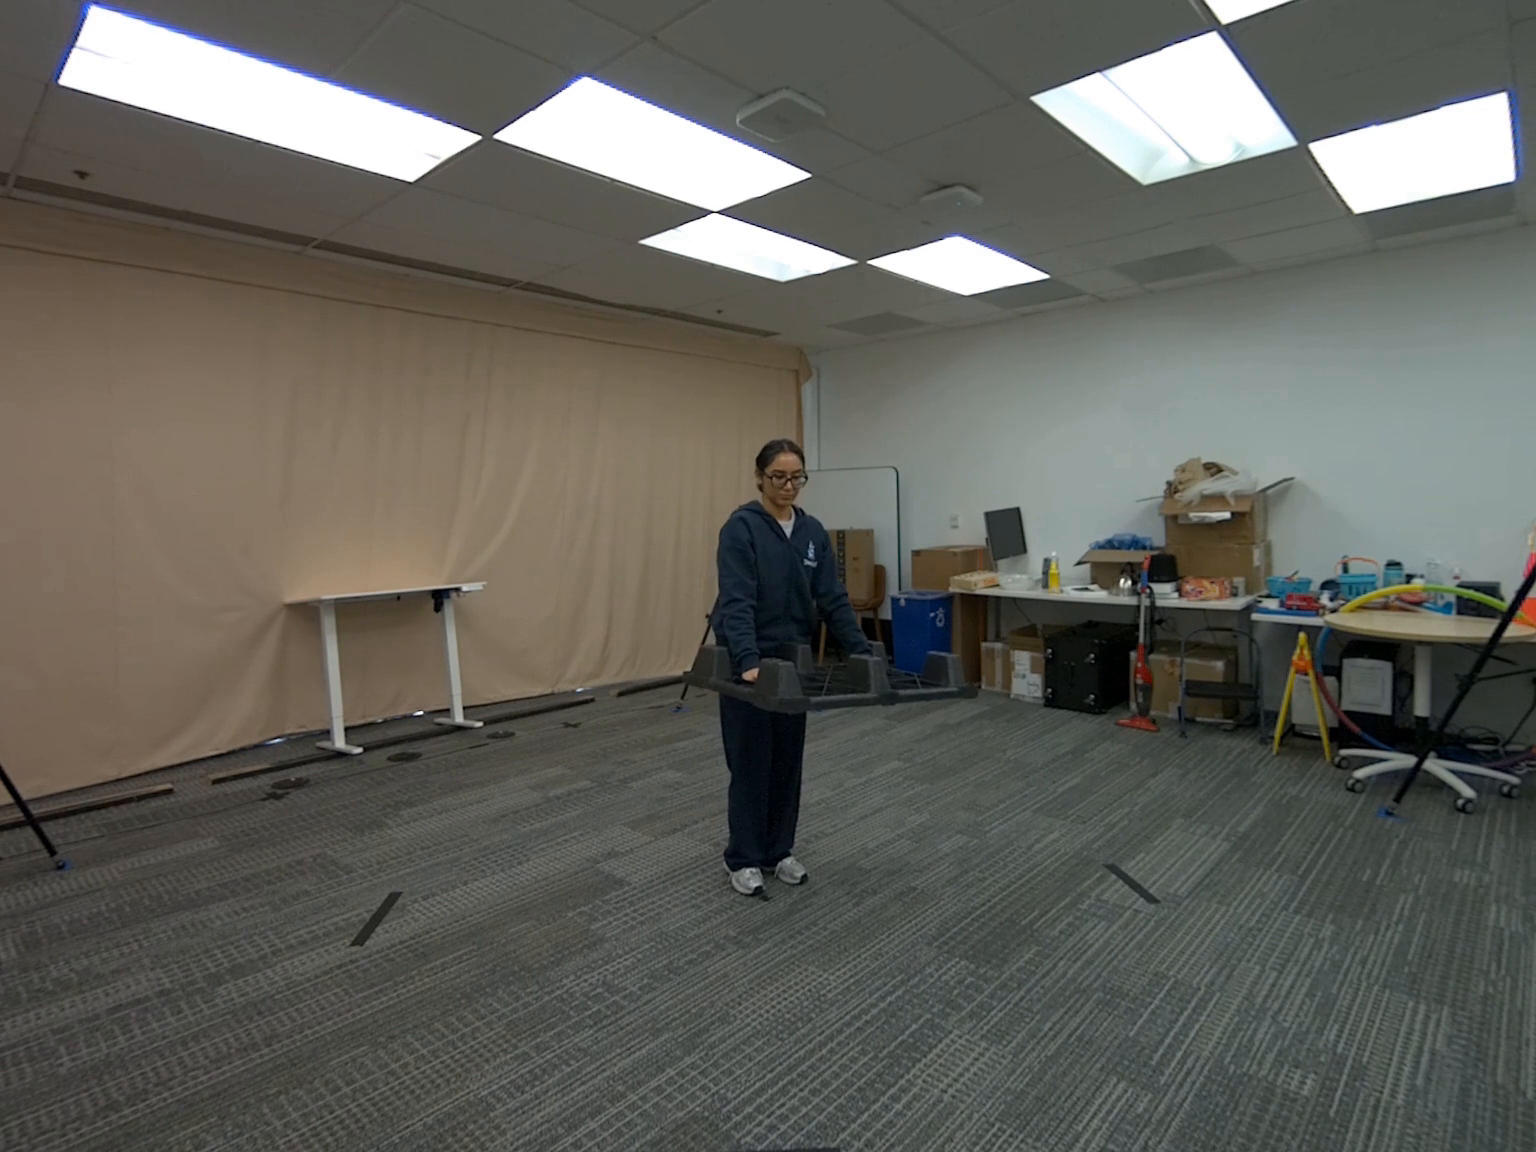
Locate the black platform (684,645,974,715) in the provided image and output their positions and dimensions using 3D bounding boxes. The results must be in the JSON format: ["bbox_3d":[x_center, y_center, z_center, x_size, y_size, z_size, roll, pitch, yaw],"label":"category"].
[{"bbox_3d":[0.202,0.315,2.814,0.783,0.143,0.623,1,3,-32],"label":"black platform"}]
